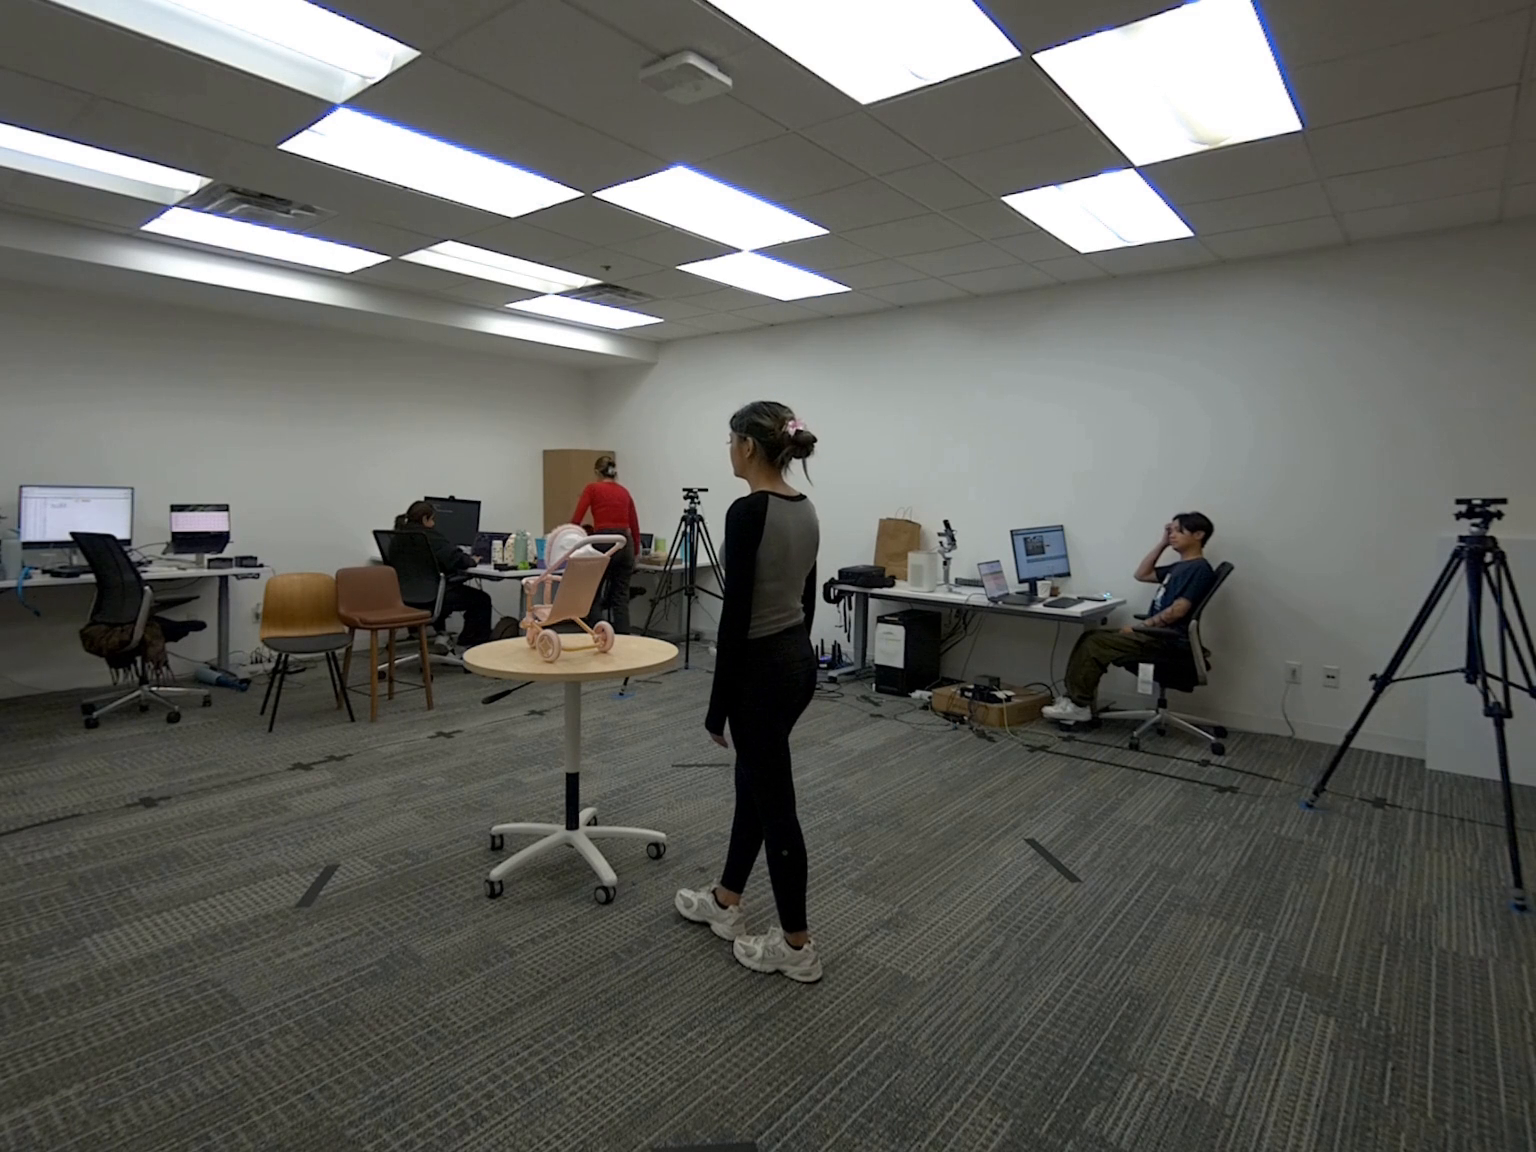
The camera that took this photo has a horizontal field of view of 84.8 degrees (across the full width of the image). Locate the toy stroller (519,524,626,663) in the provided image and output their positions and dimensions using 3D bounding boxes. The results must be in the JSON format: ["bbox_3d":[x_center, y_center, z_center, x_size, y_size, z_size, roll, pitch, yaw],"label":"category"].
[{"bbox_3d":[-0.729,0.056,3.008,0.355,0.530,0.273,24,18,40],"label":"toy stroller"}]
